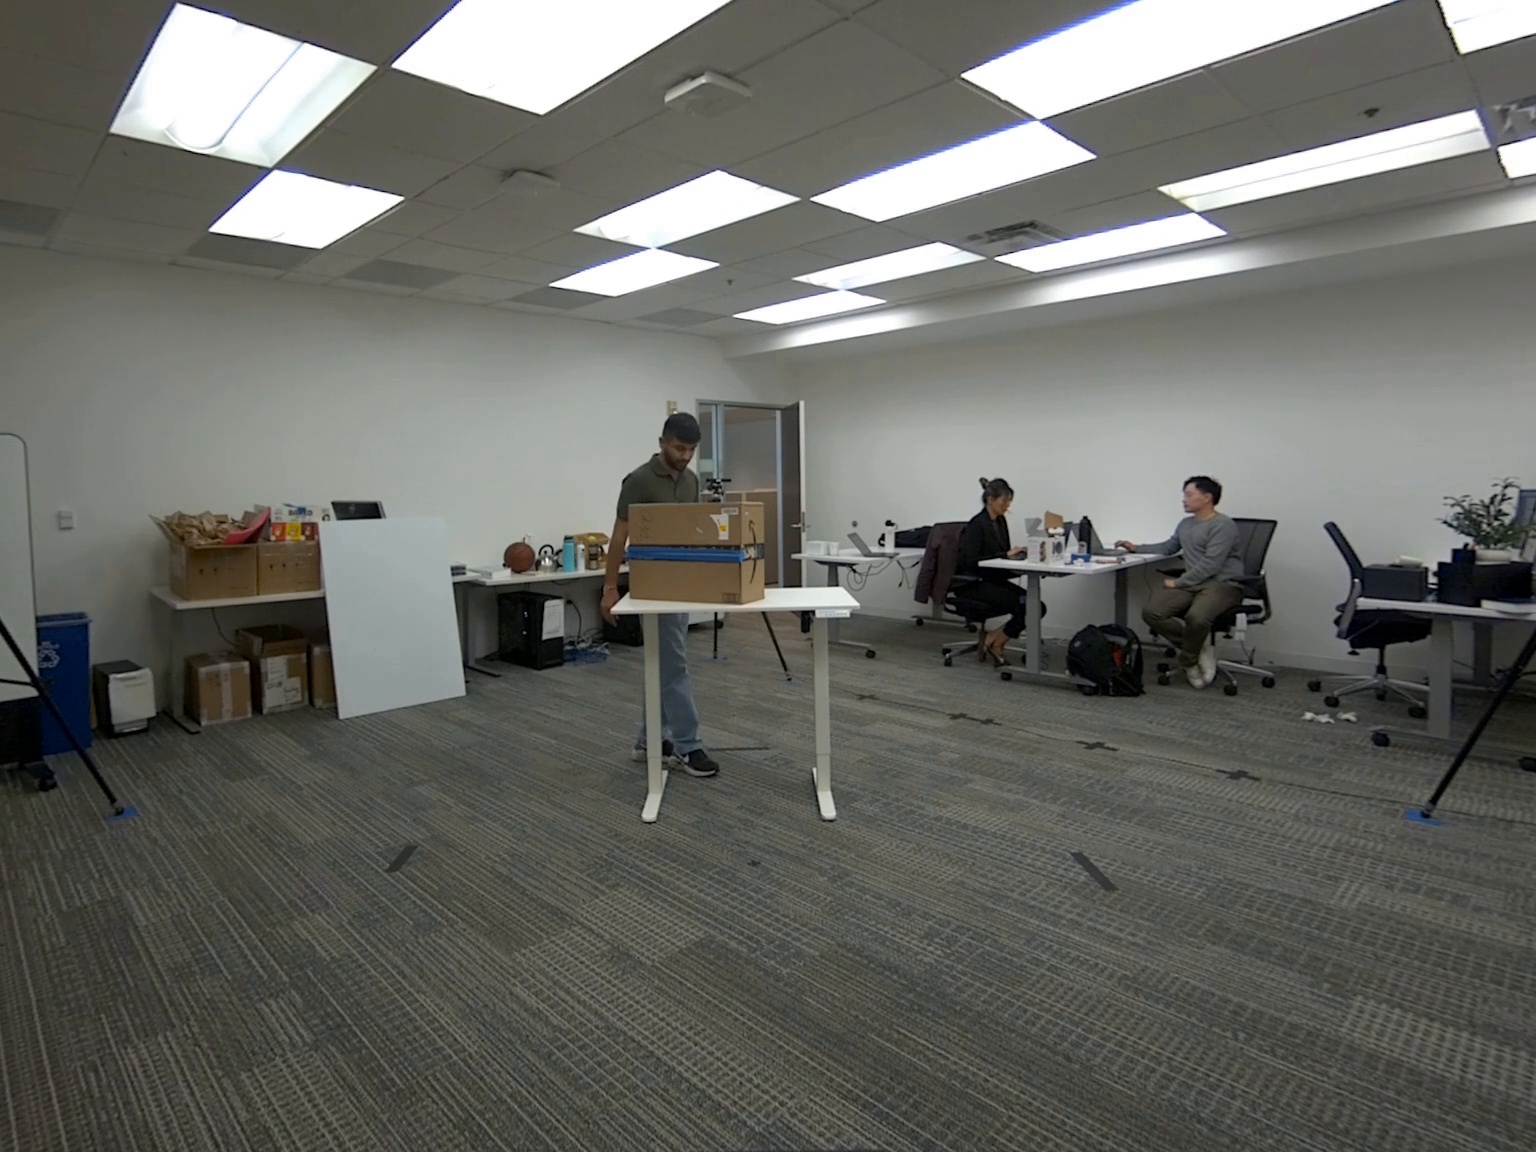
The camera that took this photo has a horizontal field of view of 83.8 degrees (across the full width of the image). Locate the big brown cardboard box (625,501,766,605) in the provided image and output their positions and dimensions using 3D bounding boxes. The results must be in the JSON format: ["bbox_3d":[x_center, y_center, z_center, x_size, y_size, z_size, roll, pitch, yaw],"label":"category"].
[{"bbox_3d":[-0.310,-0.106,3.708,0.604,0.417,0.228,1,3,29],"label":"big brown cardboard box"}]
